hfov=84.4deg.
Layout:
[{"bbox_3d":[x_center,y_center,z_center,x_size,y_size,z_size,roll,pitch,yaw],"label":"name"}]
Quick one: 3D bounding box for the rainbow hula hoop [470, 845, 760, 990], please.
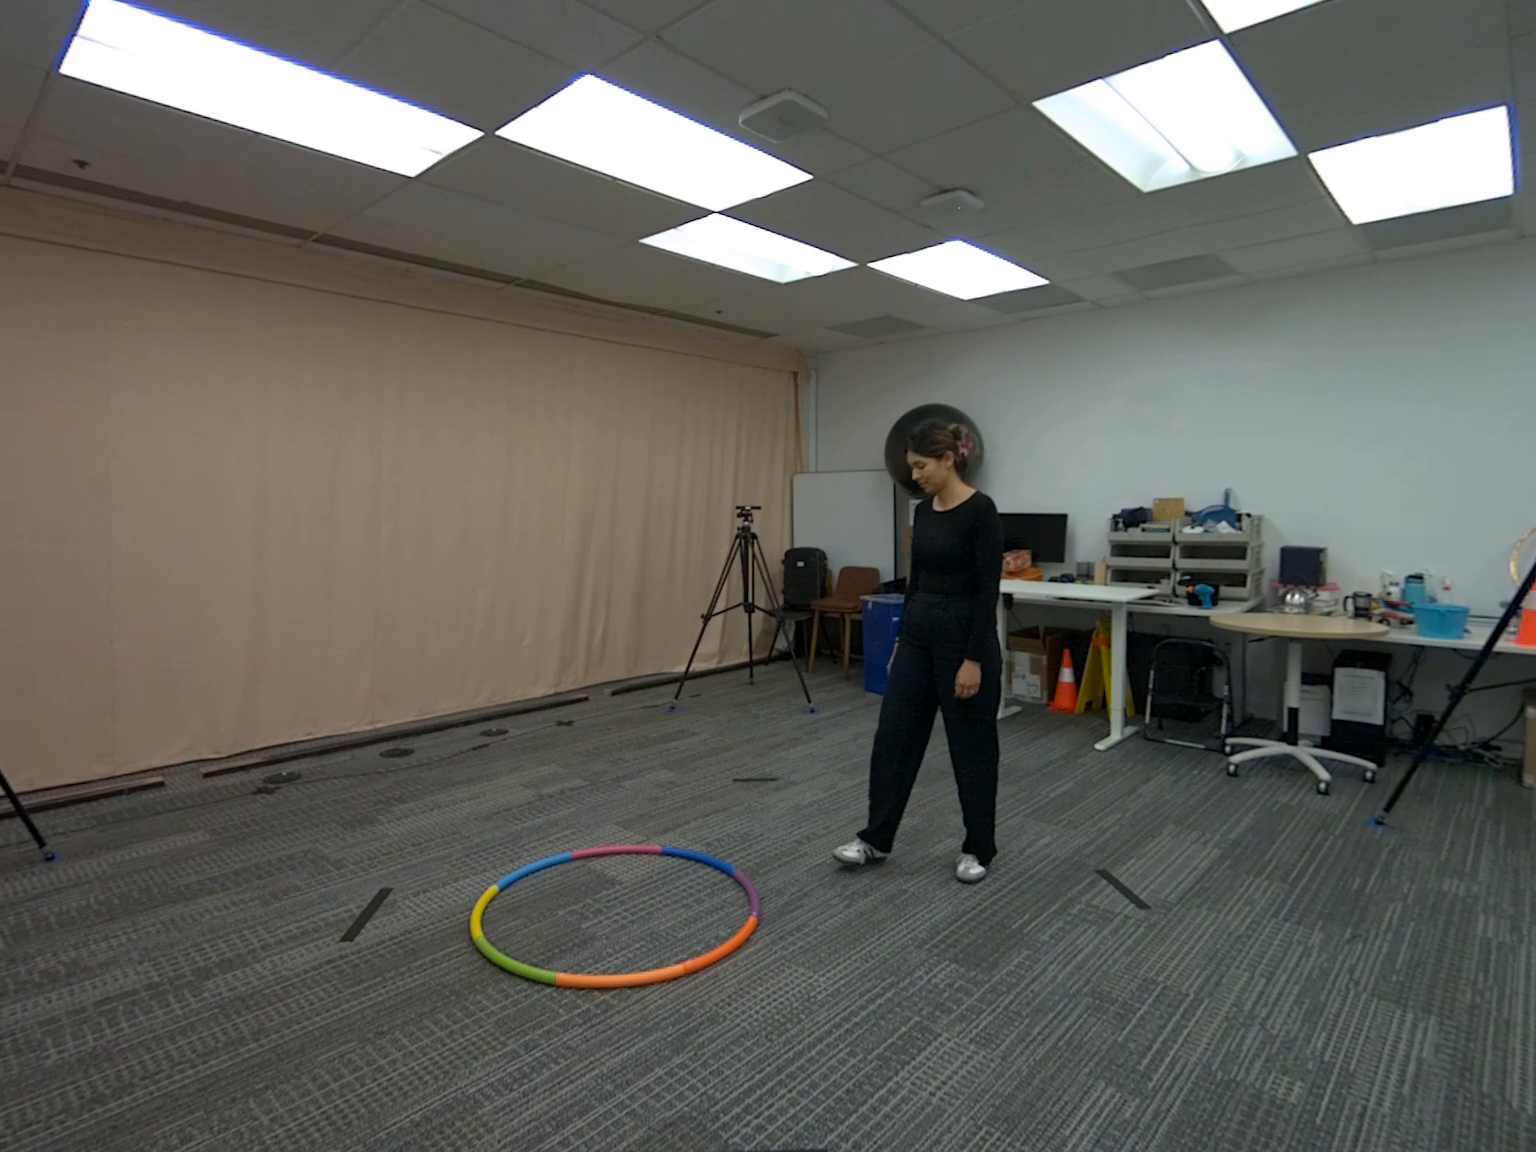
[{"bbox_3d":[-0.515,1.124,2.911,0.978,0.035,0.982,0,5,-2],"label":"rainbow hula hoop"}]
